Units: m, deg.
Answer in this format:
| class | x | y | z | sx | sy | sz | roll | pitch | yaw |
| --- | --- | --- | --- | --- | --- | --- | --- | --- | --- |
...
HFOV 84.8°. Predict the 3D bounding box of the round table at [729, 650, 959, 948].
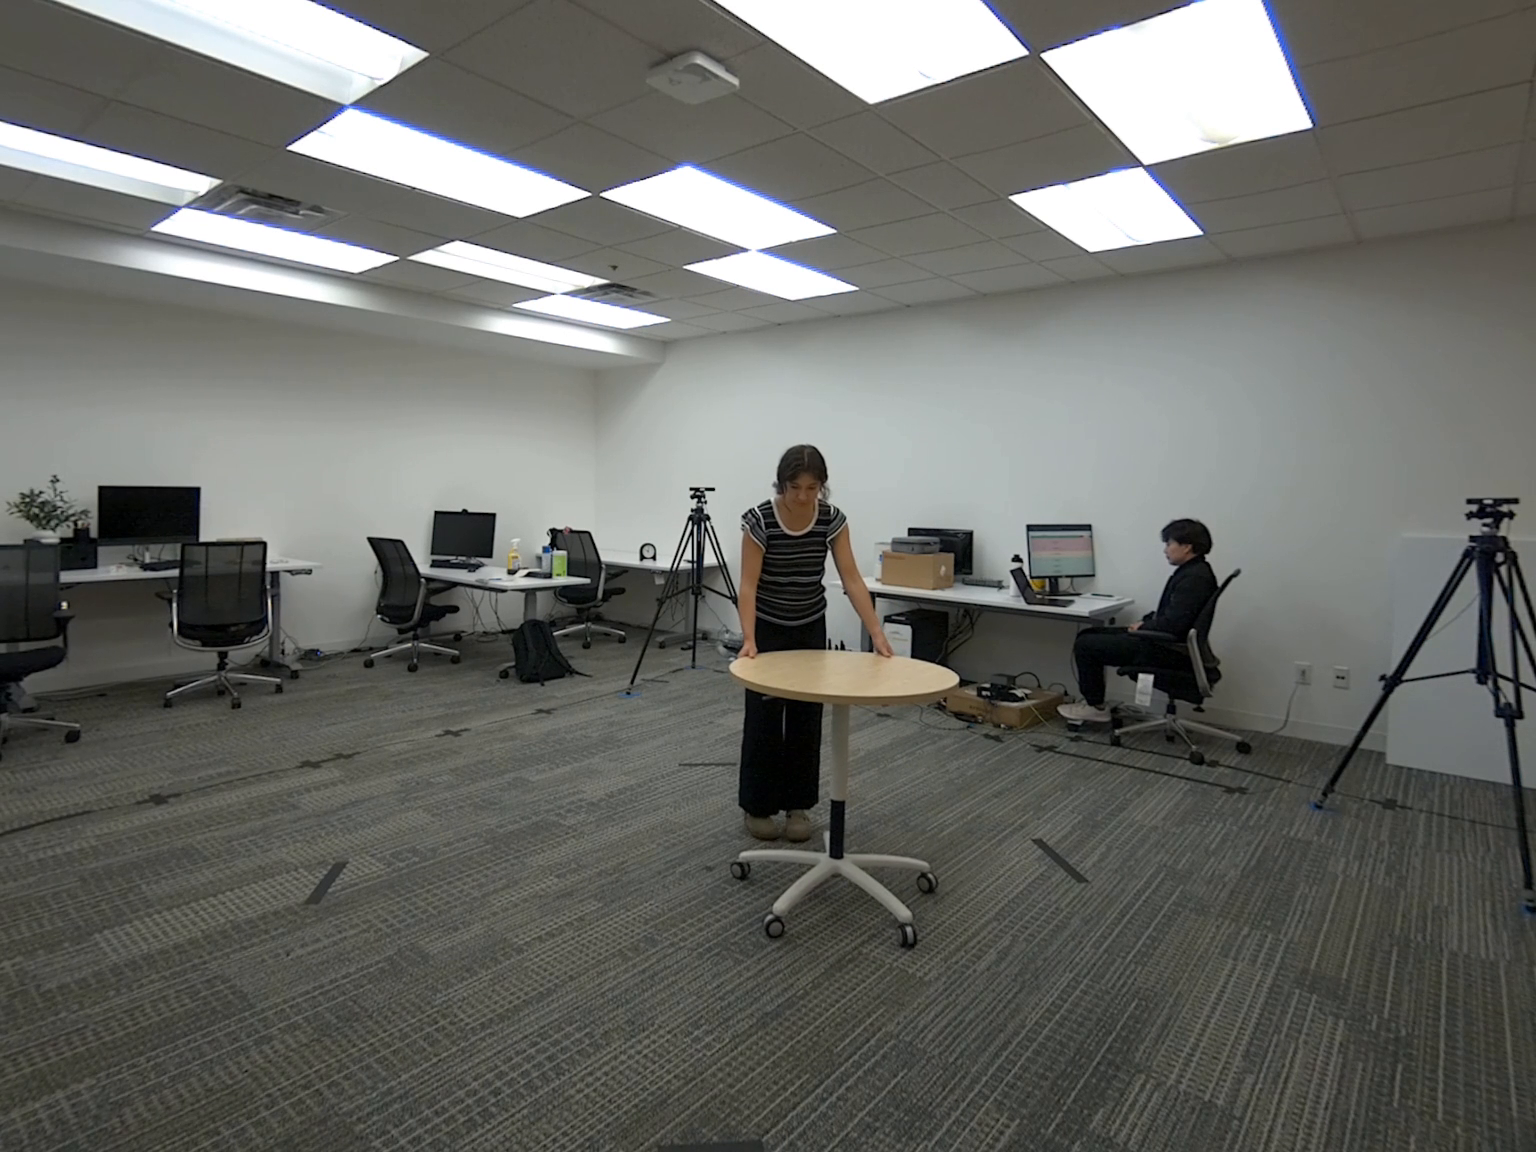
| class | x | y | z | sx | sy | sz | roll | pitch | yaw |
| --- | --- | --- | --- | --- | --- | --- | --- | --- | --- |
| round table | 0.229 | 0.709 | 2.891 | 0.763 | 0.792 | 0.767 | 1 | 3 | -2 |
